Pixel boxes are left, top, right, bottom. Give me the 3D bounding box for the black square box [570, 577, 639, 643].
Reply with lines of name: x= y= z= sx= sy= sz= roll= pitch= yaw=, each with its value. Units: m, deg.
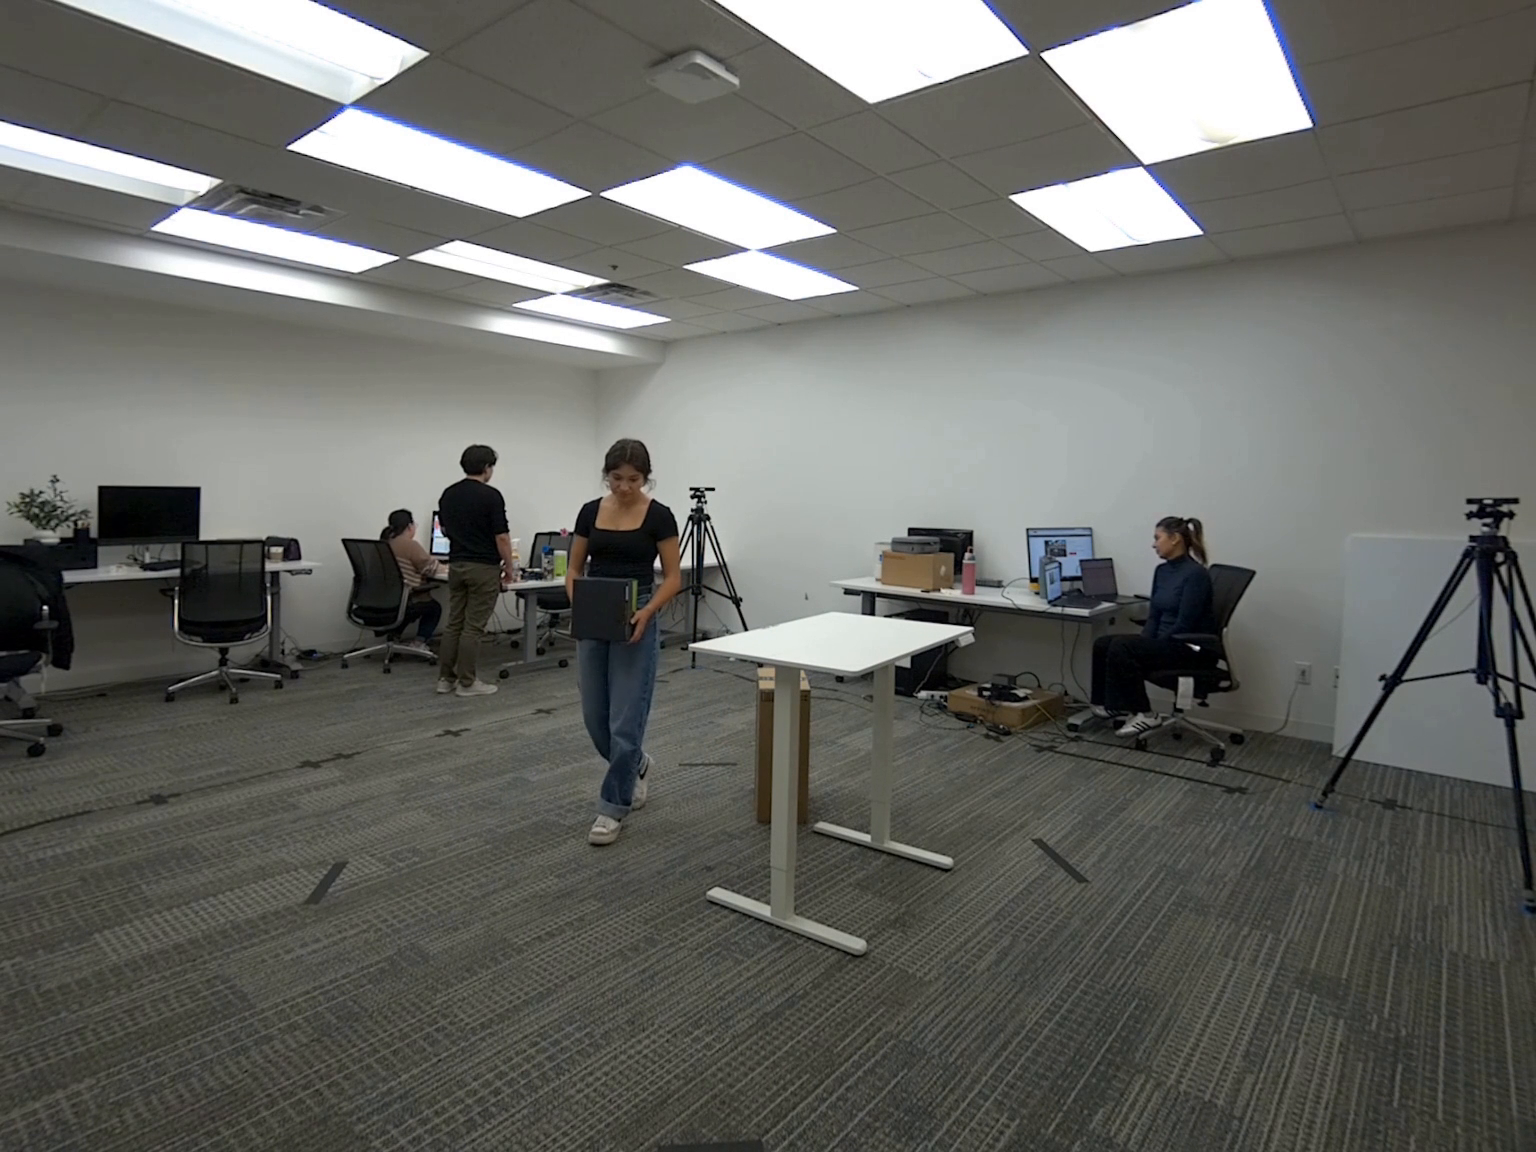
black square box: x=-0.630 y=0.116 z=3.238 sx=0.220 sy=0.228 sz=0.154 roll=3 pitch=1 yaw=10
